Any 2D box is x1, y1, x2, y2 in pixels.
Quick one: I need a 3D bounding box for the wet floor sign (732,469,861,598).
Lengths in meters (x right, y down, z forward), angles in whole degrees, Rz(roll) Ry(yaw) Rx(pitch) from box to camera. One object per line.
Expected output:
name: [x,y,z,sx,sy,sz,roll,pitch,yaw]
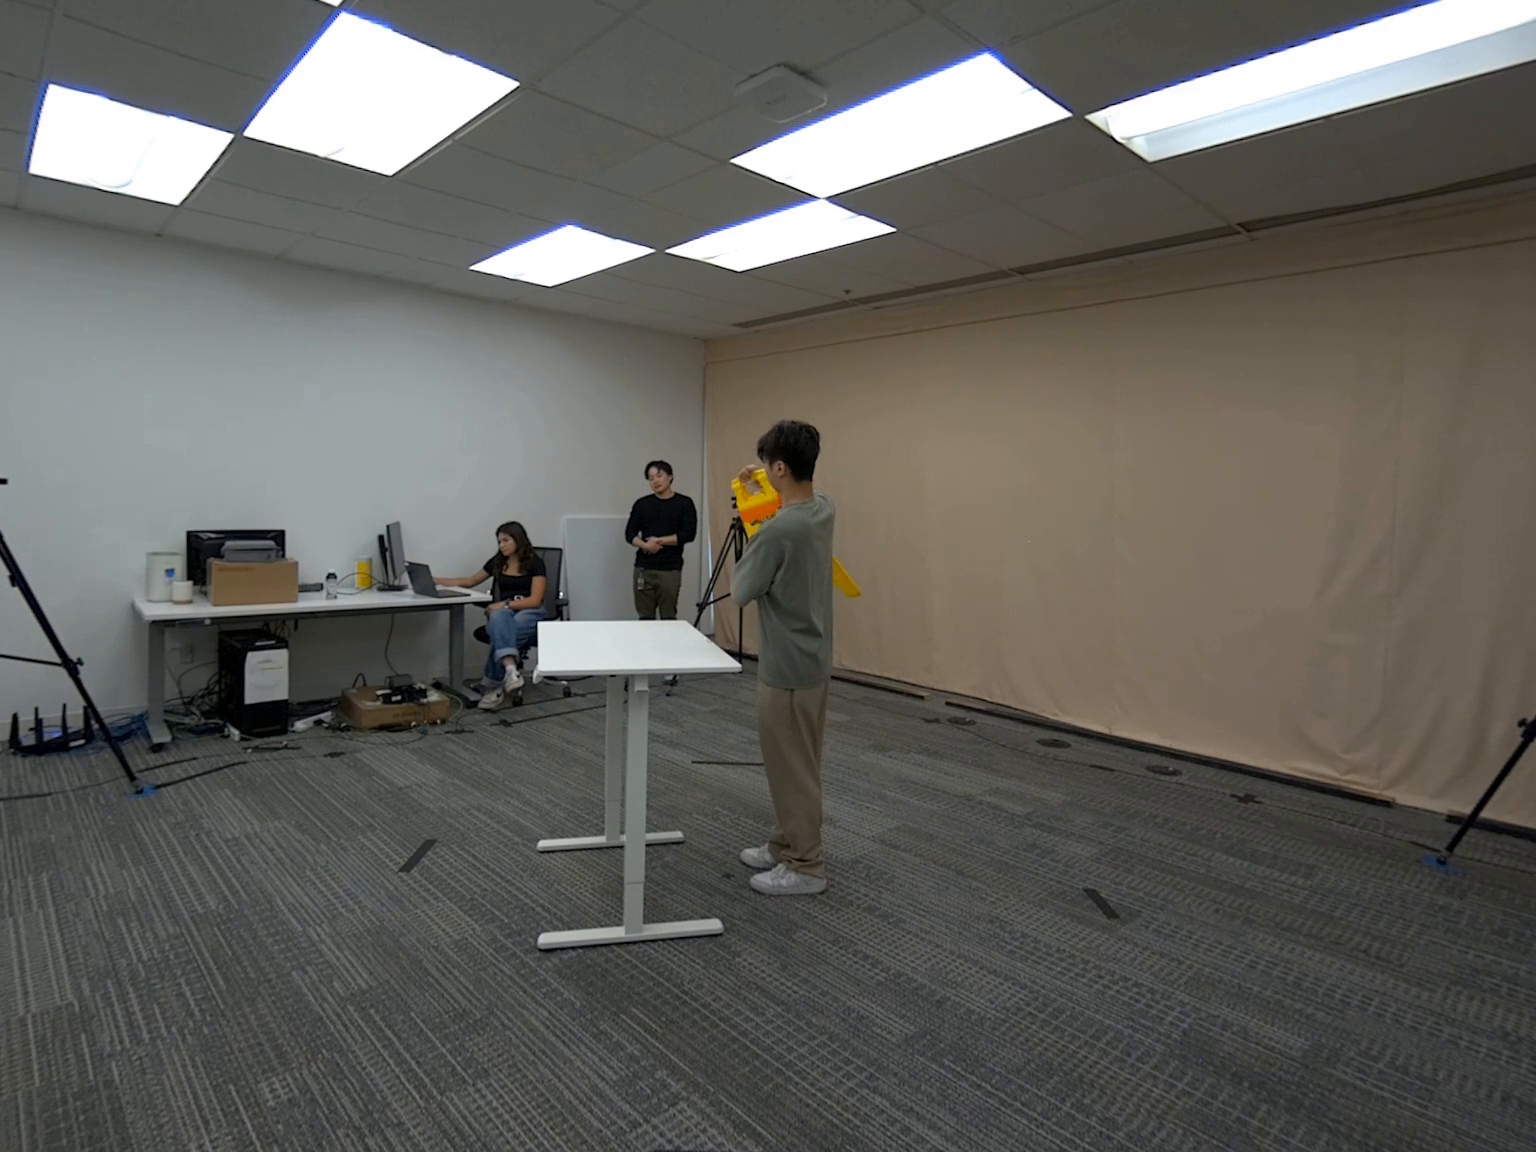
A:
wet floor sign: [0.058,-0.116,3.343,0.287,0.639,0.288,-16,16,45]
